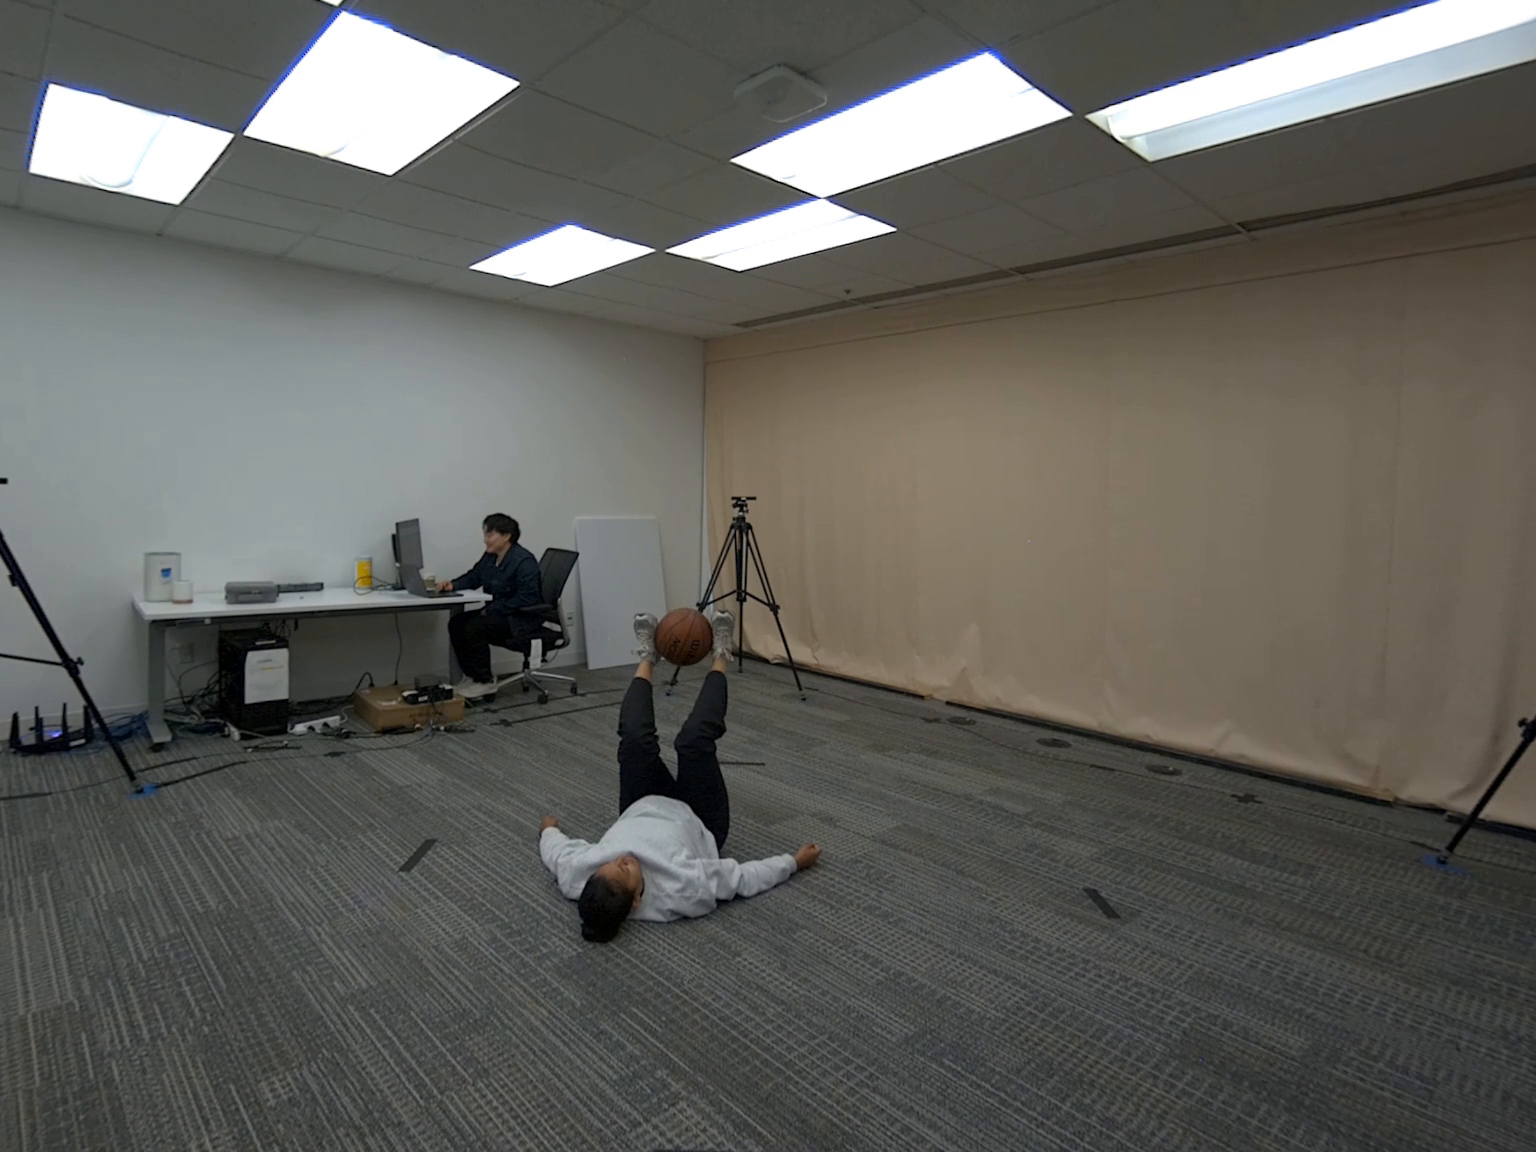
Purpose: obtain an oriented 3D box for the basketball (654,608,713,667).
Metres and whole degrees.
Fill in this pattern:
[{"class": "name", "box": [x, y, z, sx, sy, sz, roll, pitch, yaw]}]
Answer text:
[{"class": "basketball", "box": [-0.350, 0.251, 3.461, 0.235, 0.235, 0.237, 4, 7, -2]}]
